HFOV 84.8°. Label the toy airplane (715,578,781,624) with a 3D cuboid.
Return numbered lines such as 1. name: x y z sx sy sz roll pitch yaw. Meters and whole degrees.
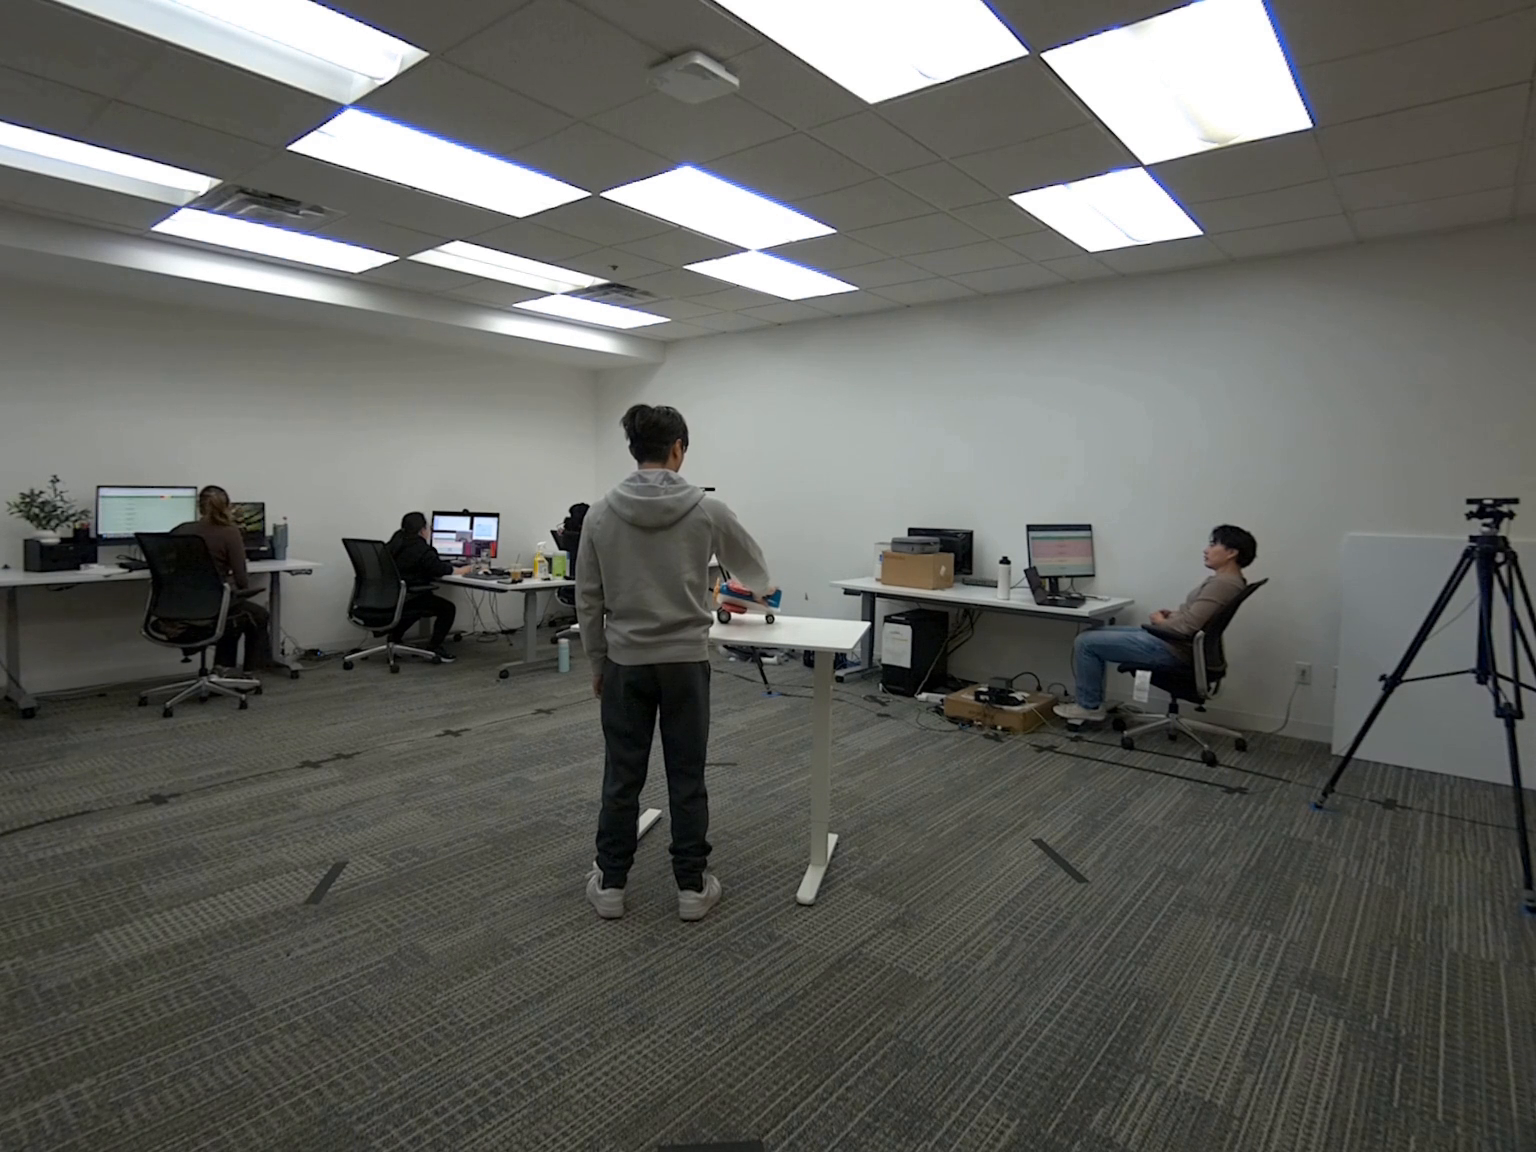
1. toy airplane: -0.095 0.095 3.269 0.252 0.156 0.259 -2 5 -31
